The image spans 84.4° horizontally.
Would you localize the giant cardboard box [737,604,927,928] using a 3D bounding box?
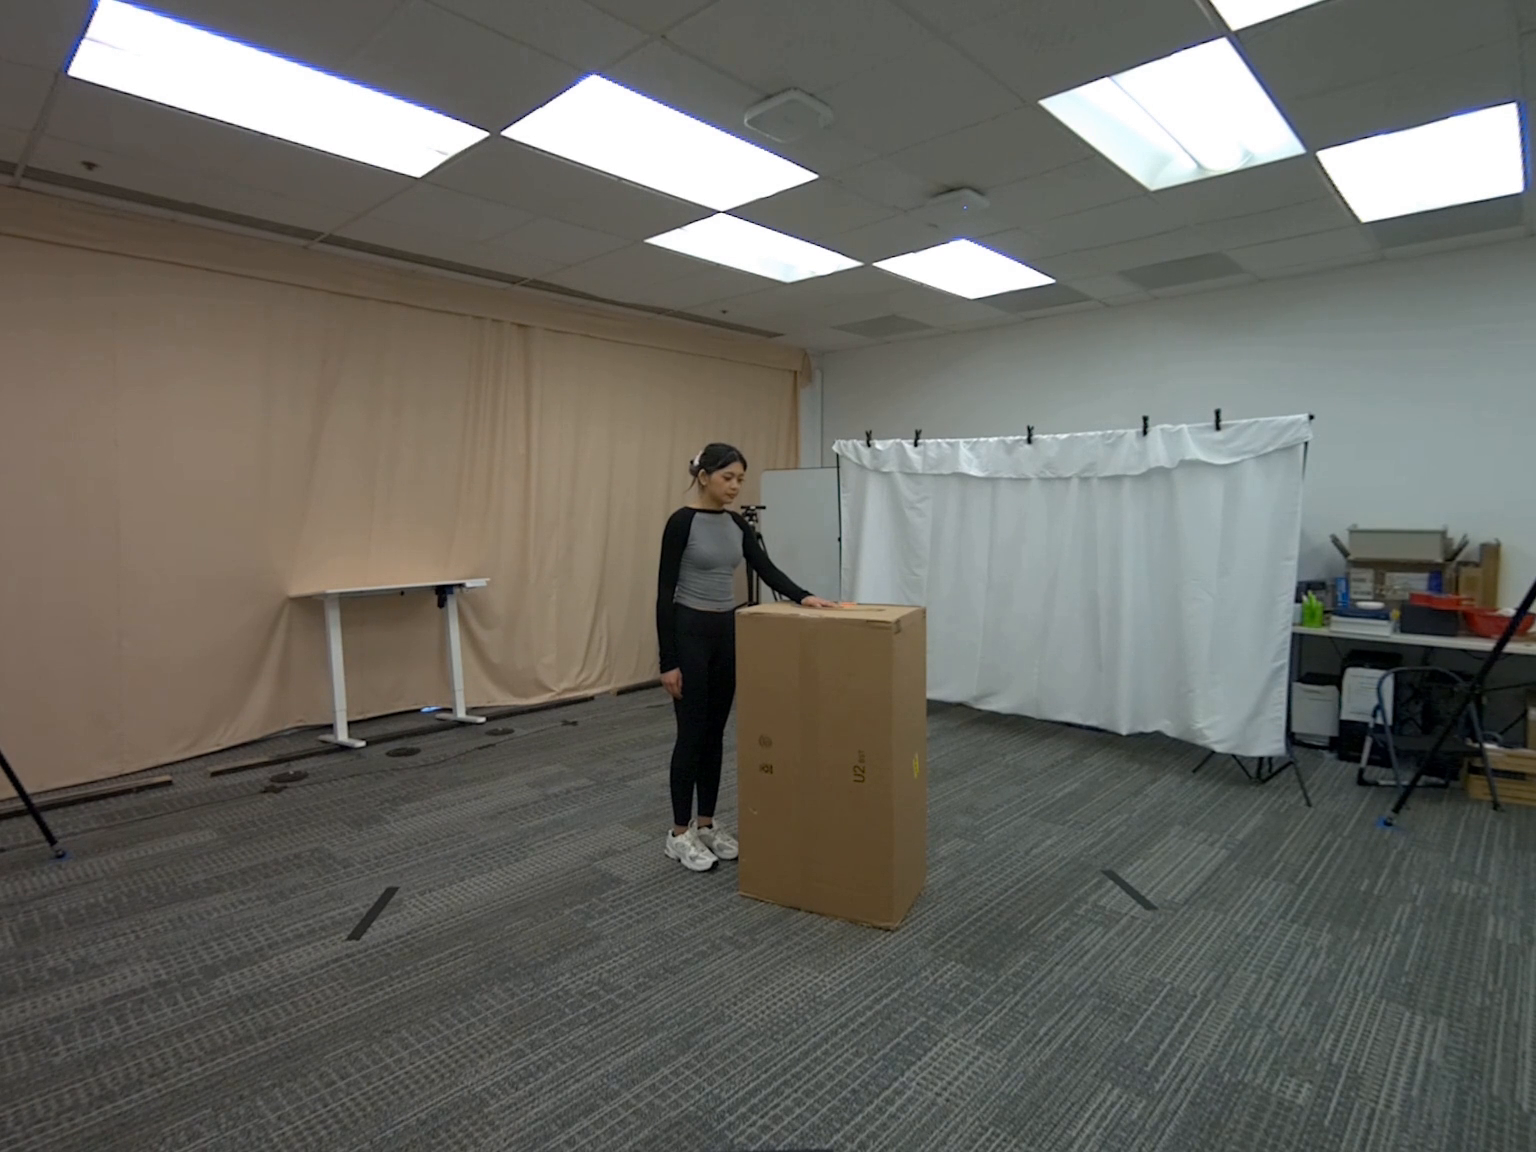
[{"bbox_3d":[0.244,0.631,3.041,0.599,1.025,0.436,1,4,26],"label":"giant cardboard box"}]
